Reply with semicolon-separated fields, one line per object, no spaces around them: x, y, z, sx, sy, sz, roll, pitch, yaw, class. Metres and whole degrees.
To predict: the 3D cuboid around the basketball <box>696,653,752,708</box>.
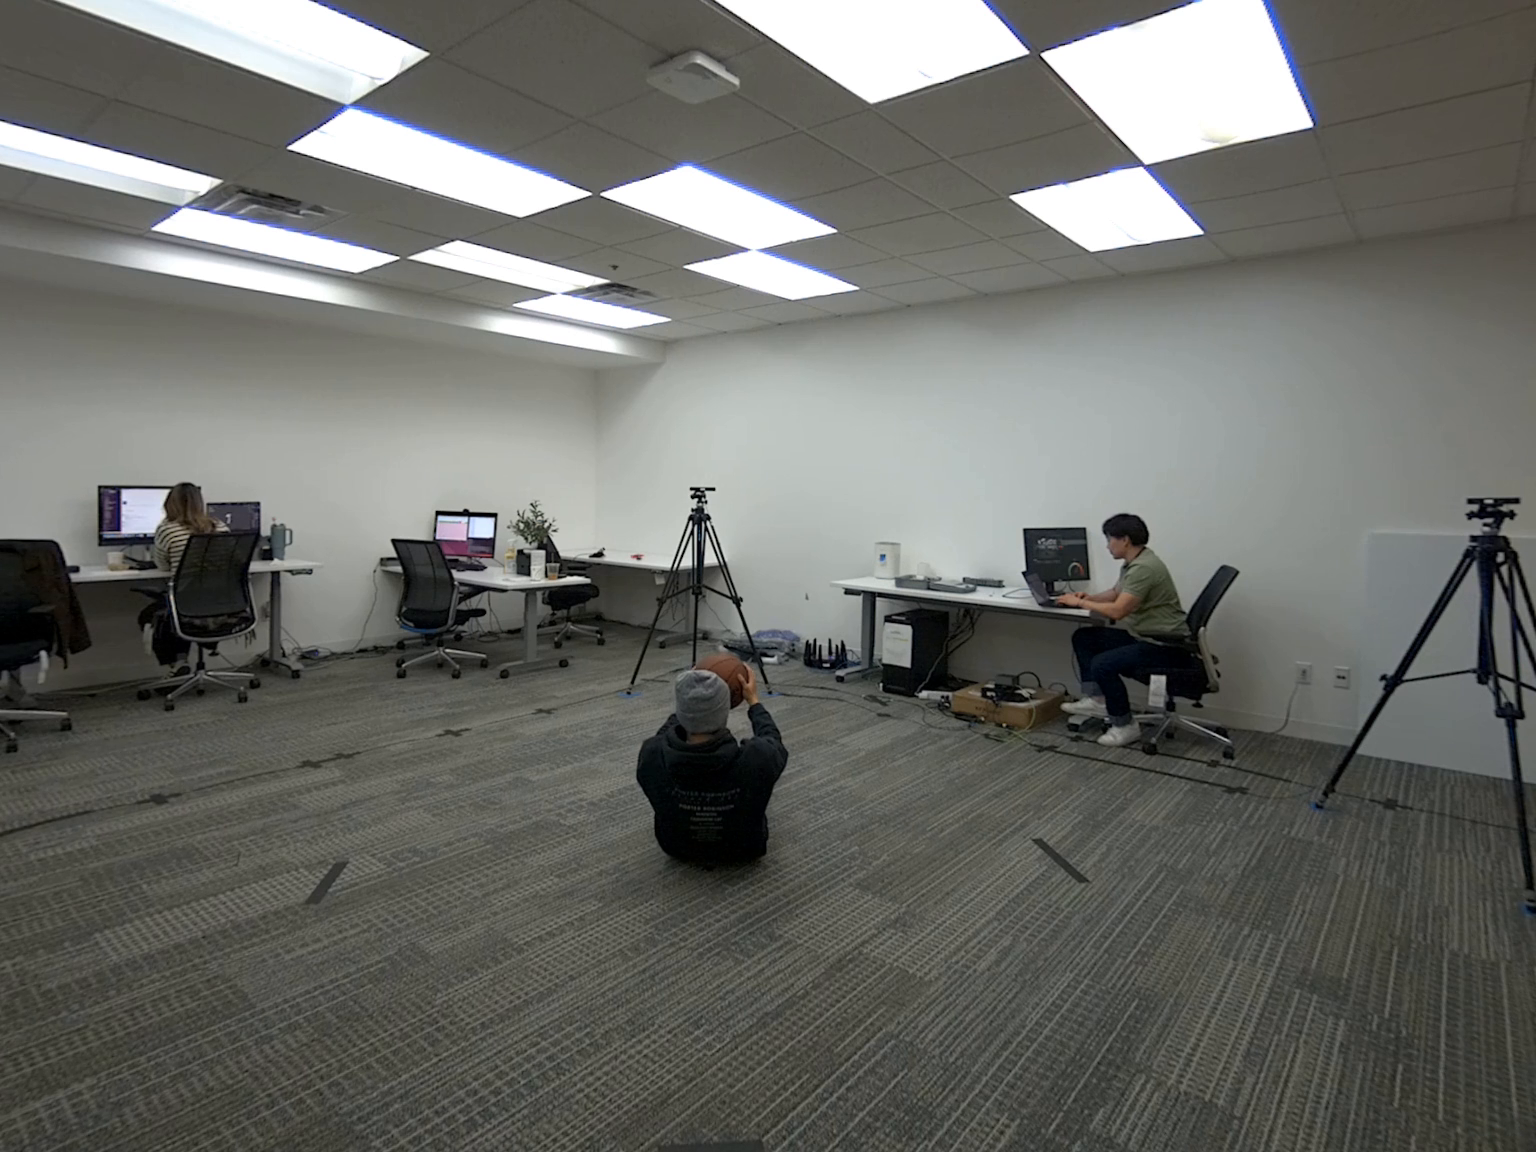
-0.202;0.436;3.522;0.235;0.235;0.237;1;4;-2;basketball
